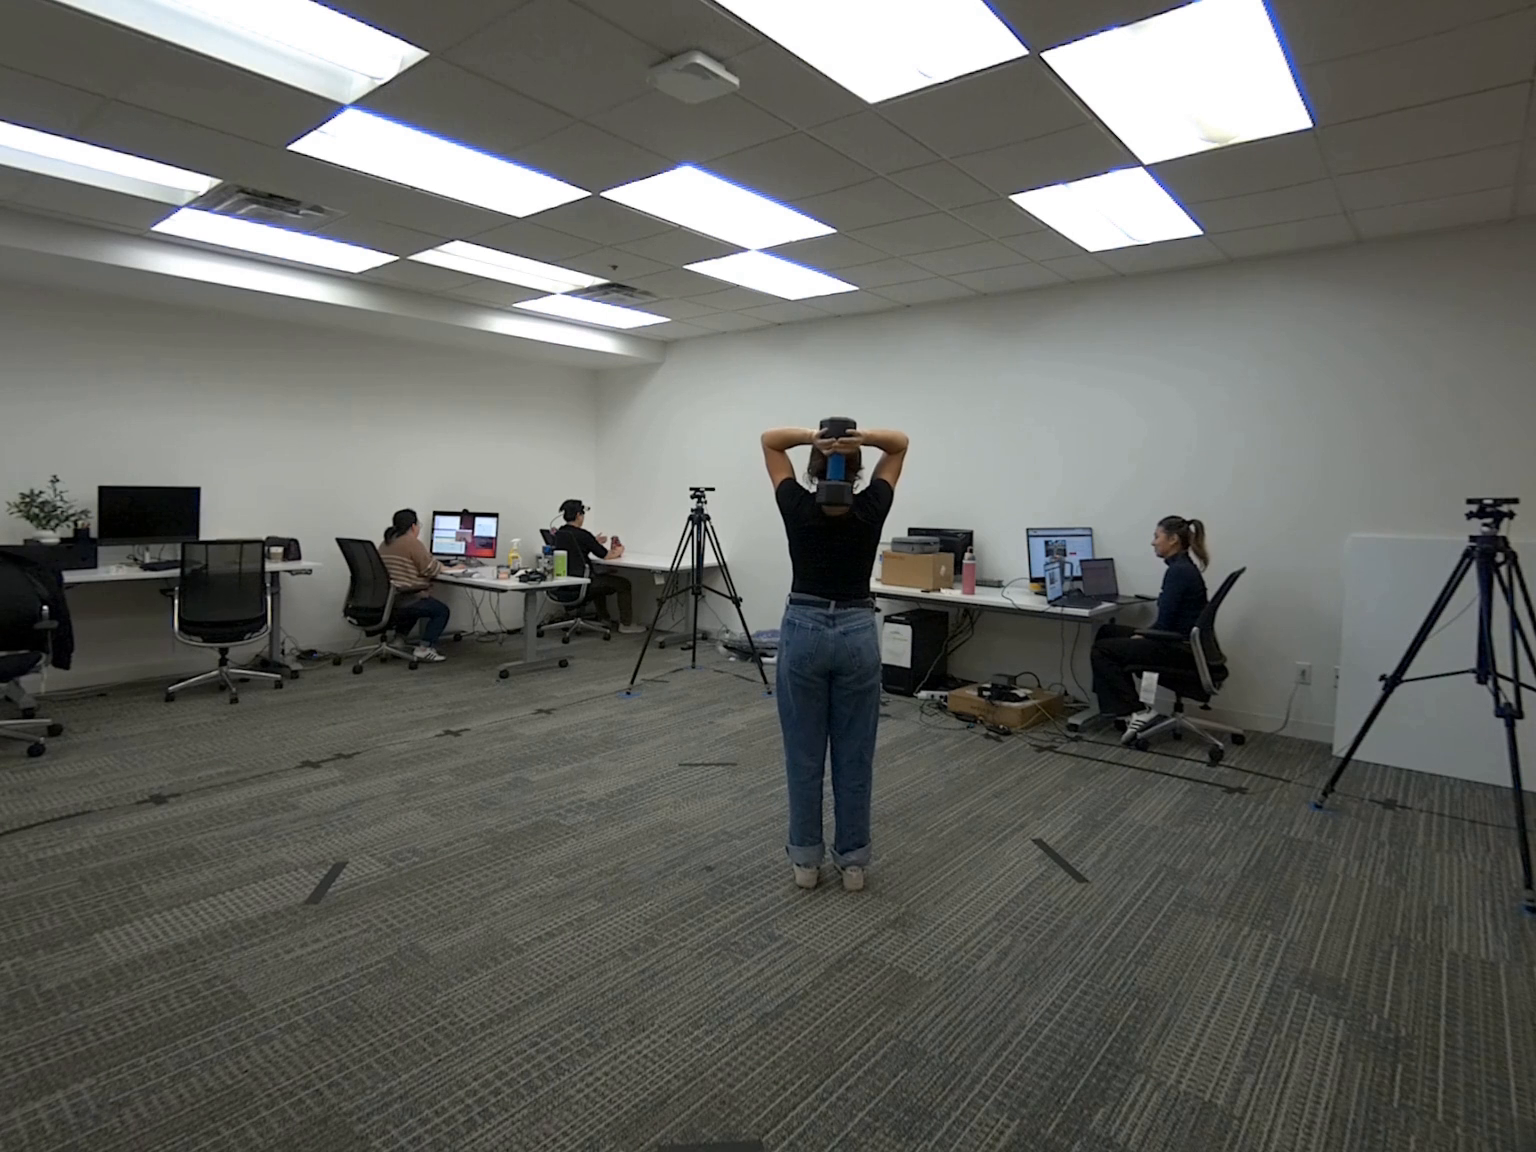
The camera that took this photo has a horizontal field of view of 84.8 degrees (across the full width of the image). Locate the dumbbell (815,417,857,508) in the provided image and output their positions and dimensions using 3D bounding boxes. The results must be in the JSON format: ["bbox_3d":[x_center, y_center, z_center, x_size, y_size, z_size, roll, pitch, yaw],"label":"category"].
[{"bbox_3d":[0.222,-0.388,2.837,0.112,0.293,0.119,2,2,33],"label":"dumbbell"}]
